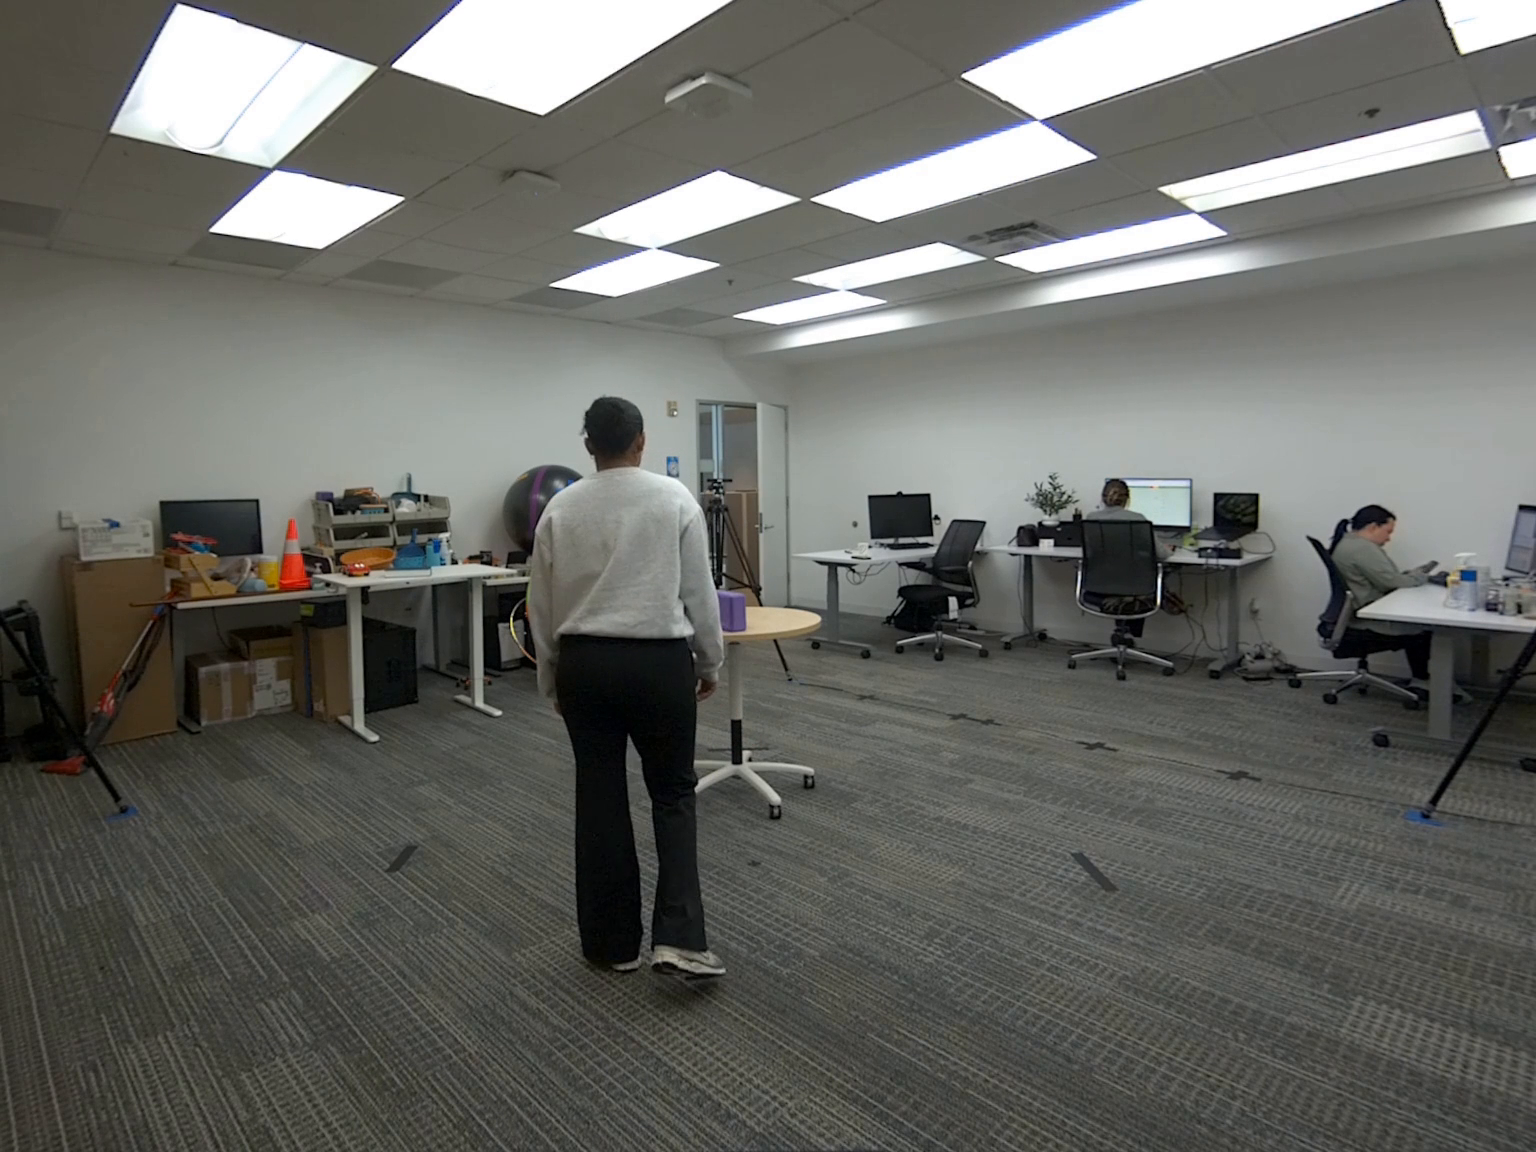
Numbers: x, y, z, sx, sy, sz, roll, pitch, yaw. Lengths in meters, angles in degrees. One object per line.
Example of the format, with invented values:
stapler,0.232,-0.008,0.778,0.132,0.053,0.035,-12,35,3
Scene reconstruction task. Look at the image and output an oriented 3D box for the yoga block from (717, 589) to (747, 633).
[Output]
yoga block,-0.182,0.142,3.533,0.074,0.148,0.236,-3,6,-34
